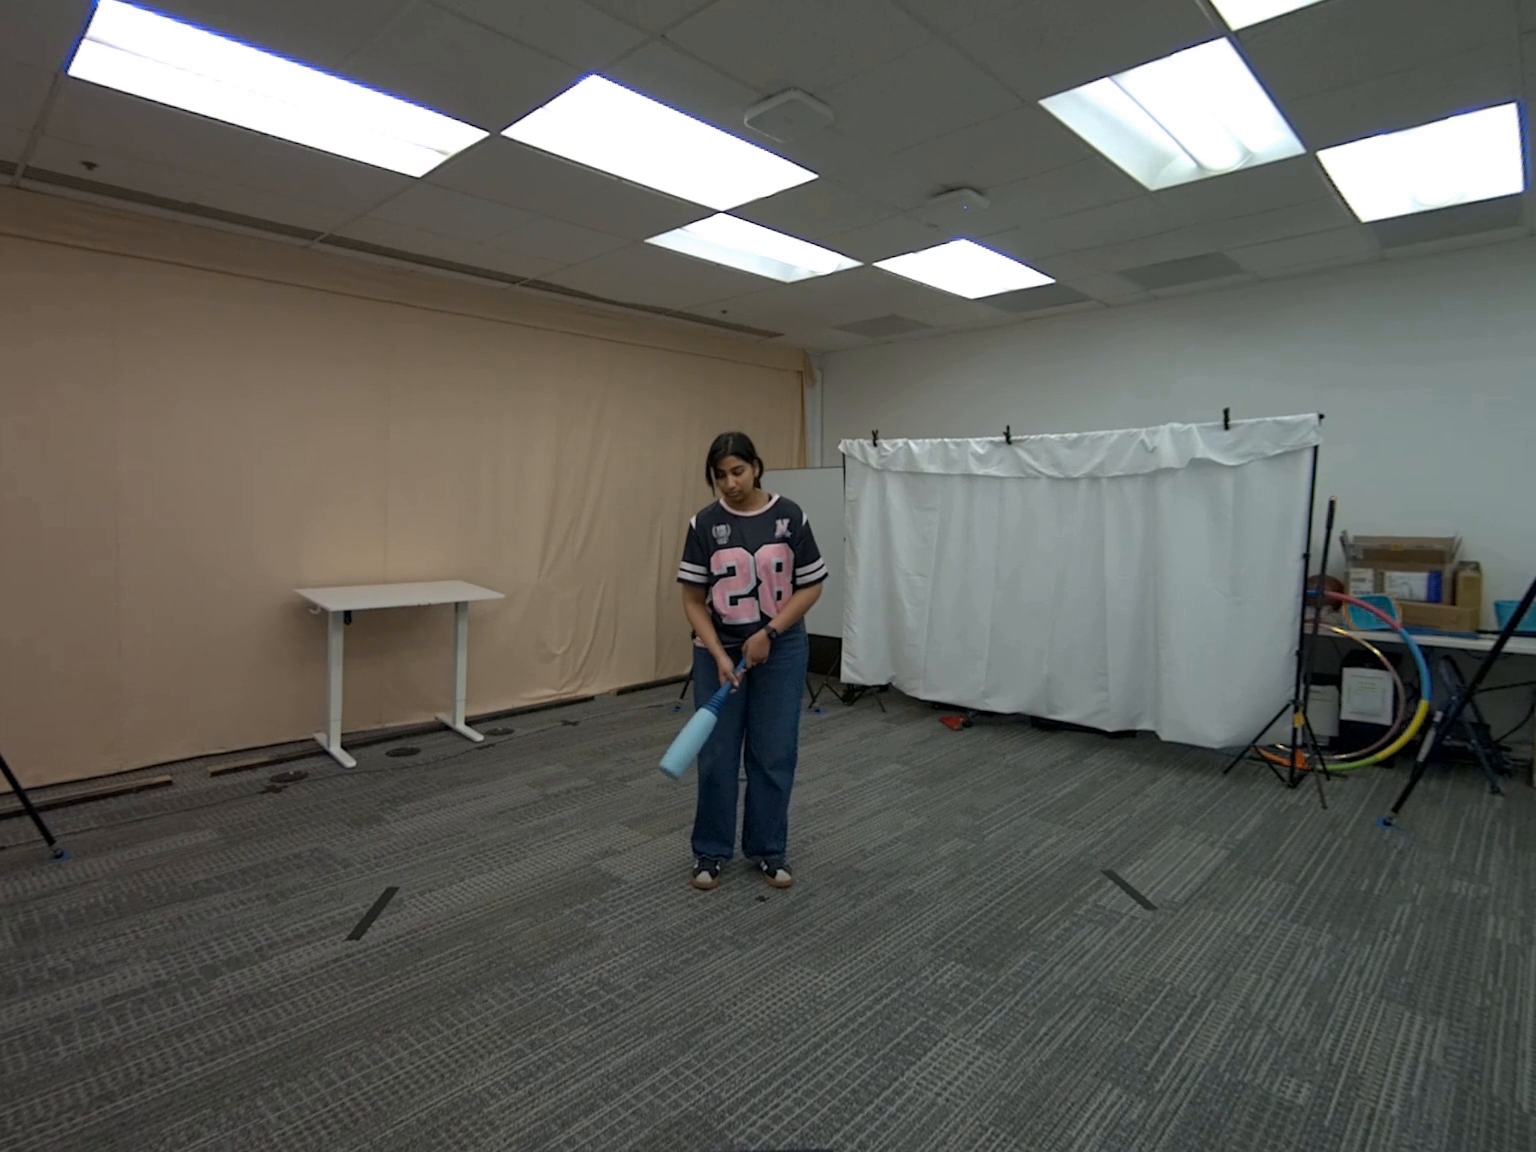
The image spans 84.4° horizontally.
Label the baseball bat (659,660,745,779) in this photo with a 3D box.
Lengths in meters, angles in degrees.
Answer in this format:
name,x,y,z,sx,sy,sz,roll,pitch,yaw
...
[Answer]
name,x,y,z,sx,sy,sz,roll,pitch,yaw
baseball bat,-0.194,0.452,2.907,0.092,0.541,0.086,4,-40,49
